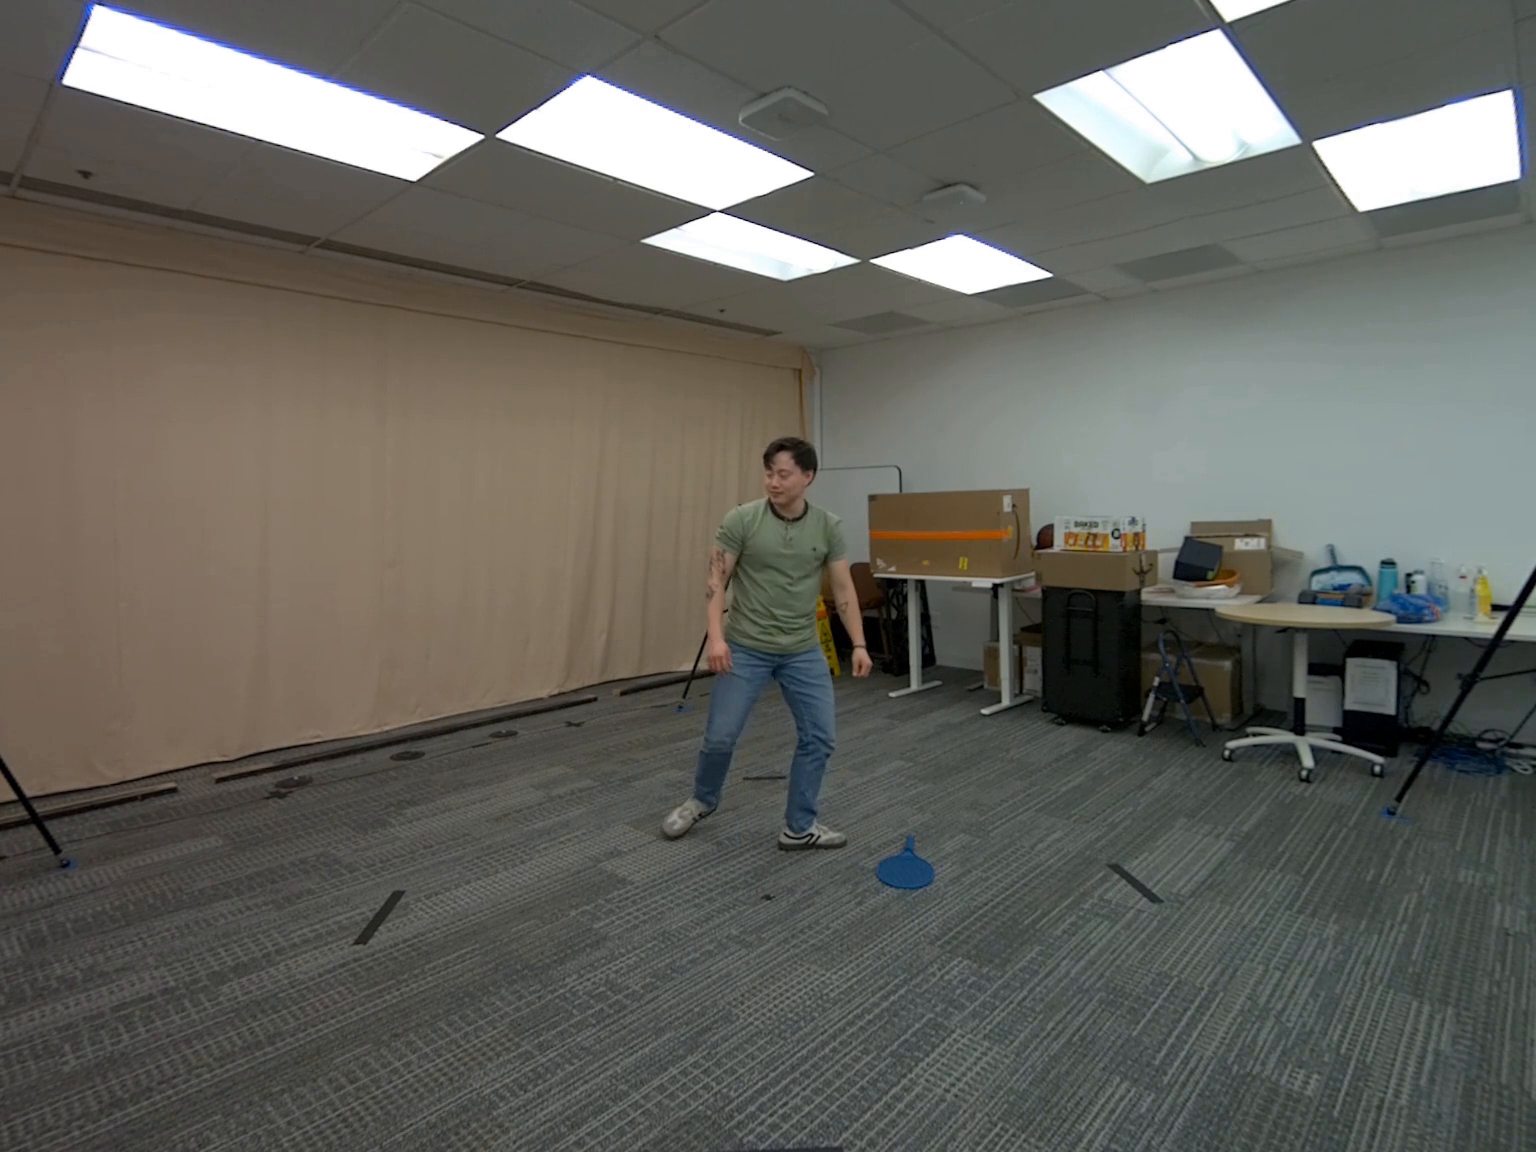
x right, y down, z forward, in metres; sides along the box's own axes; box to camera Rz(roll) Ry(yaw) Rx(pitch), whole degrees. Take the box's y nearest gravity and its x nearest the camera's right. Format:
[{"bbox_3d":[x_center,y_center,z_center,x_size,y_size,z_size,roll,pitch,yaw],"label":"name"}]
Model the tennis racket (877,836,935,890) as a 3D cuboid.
[{"bbox_3d":[0.536,1.095,3.225,0.217,0.031,0.427,1,6,15],"label":"tennis racket"}]
